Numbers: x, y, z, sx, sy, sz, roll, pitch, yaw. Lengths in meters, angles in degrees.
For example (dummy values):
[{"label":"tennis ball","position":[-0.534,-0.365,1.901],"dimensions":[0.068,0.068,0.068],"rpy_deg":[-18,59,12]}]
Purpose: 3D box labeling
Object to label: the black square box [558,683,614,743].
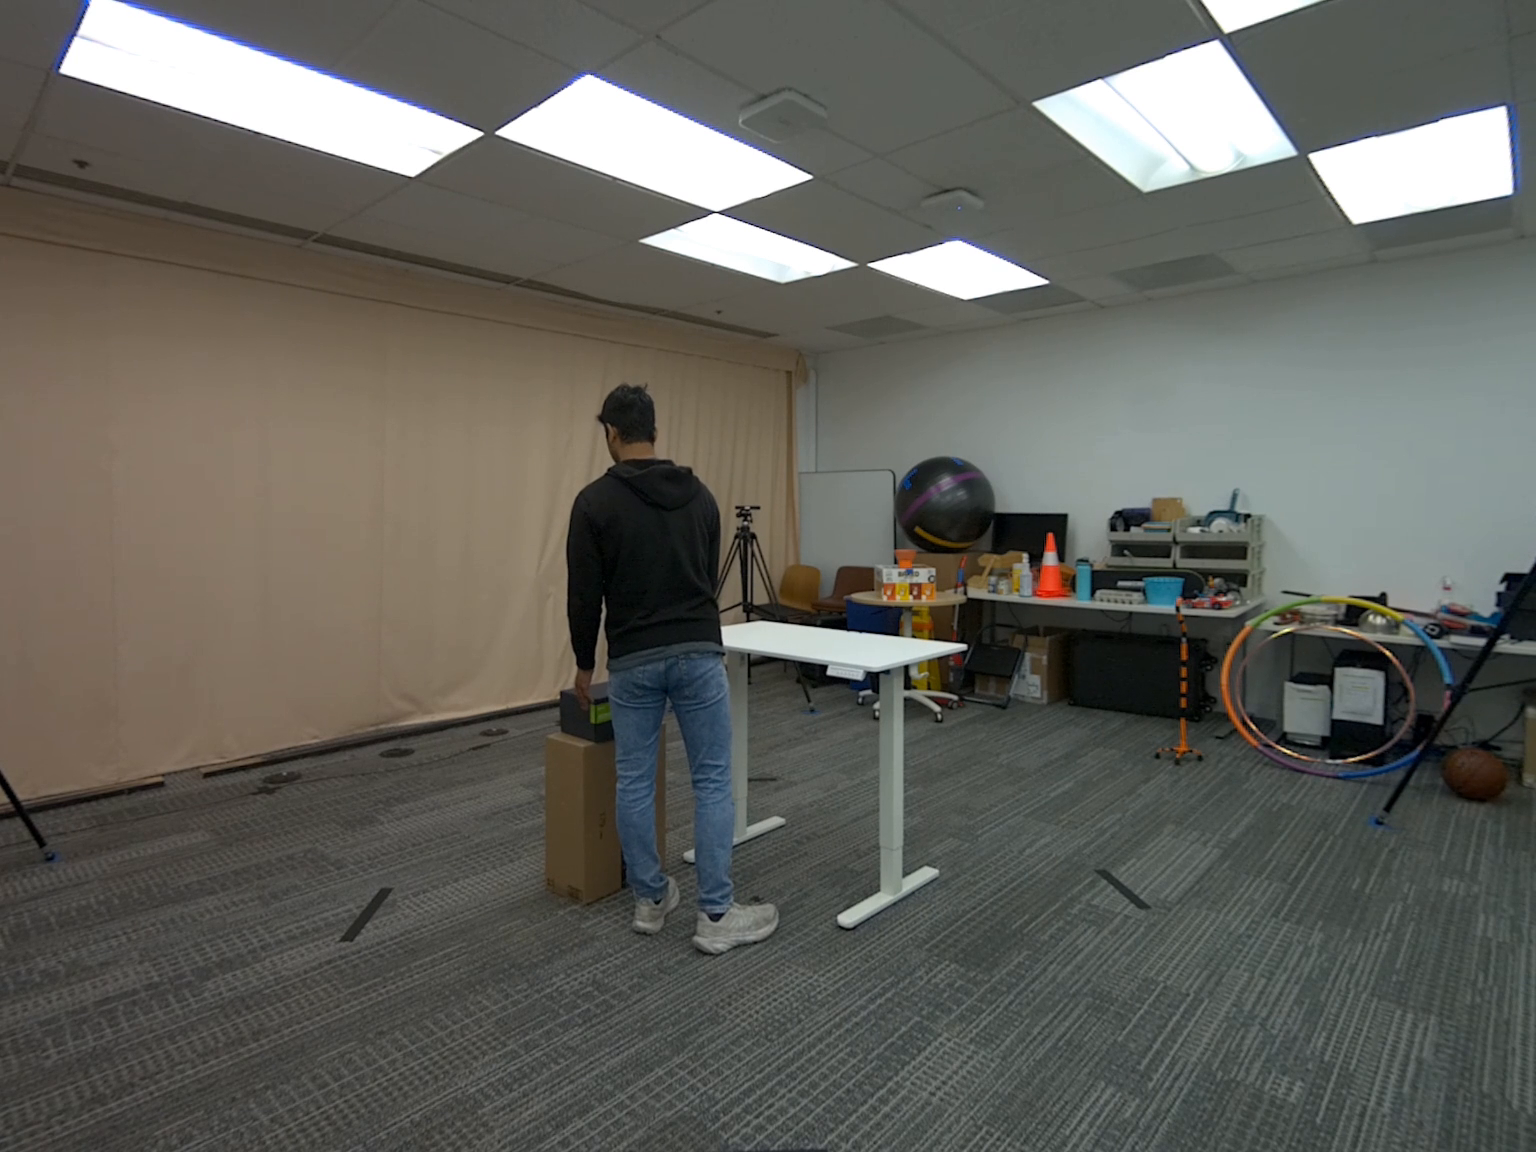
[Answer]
[{"label":"black square box","position":[-0.612,0.497,3.105],"dimensions":[0.224,0.155,0.221],"rpy_deg":[4,5,41]}]
